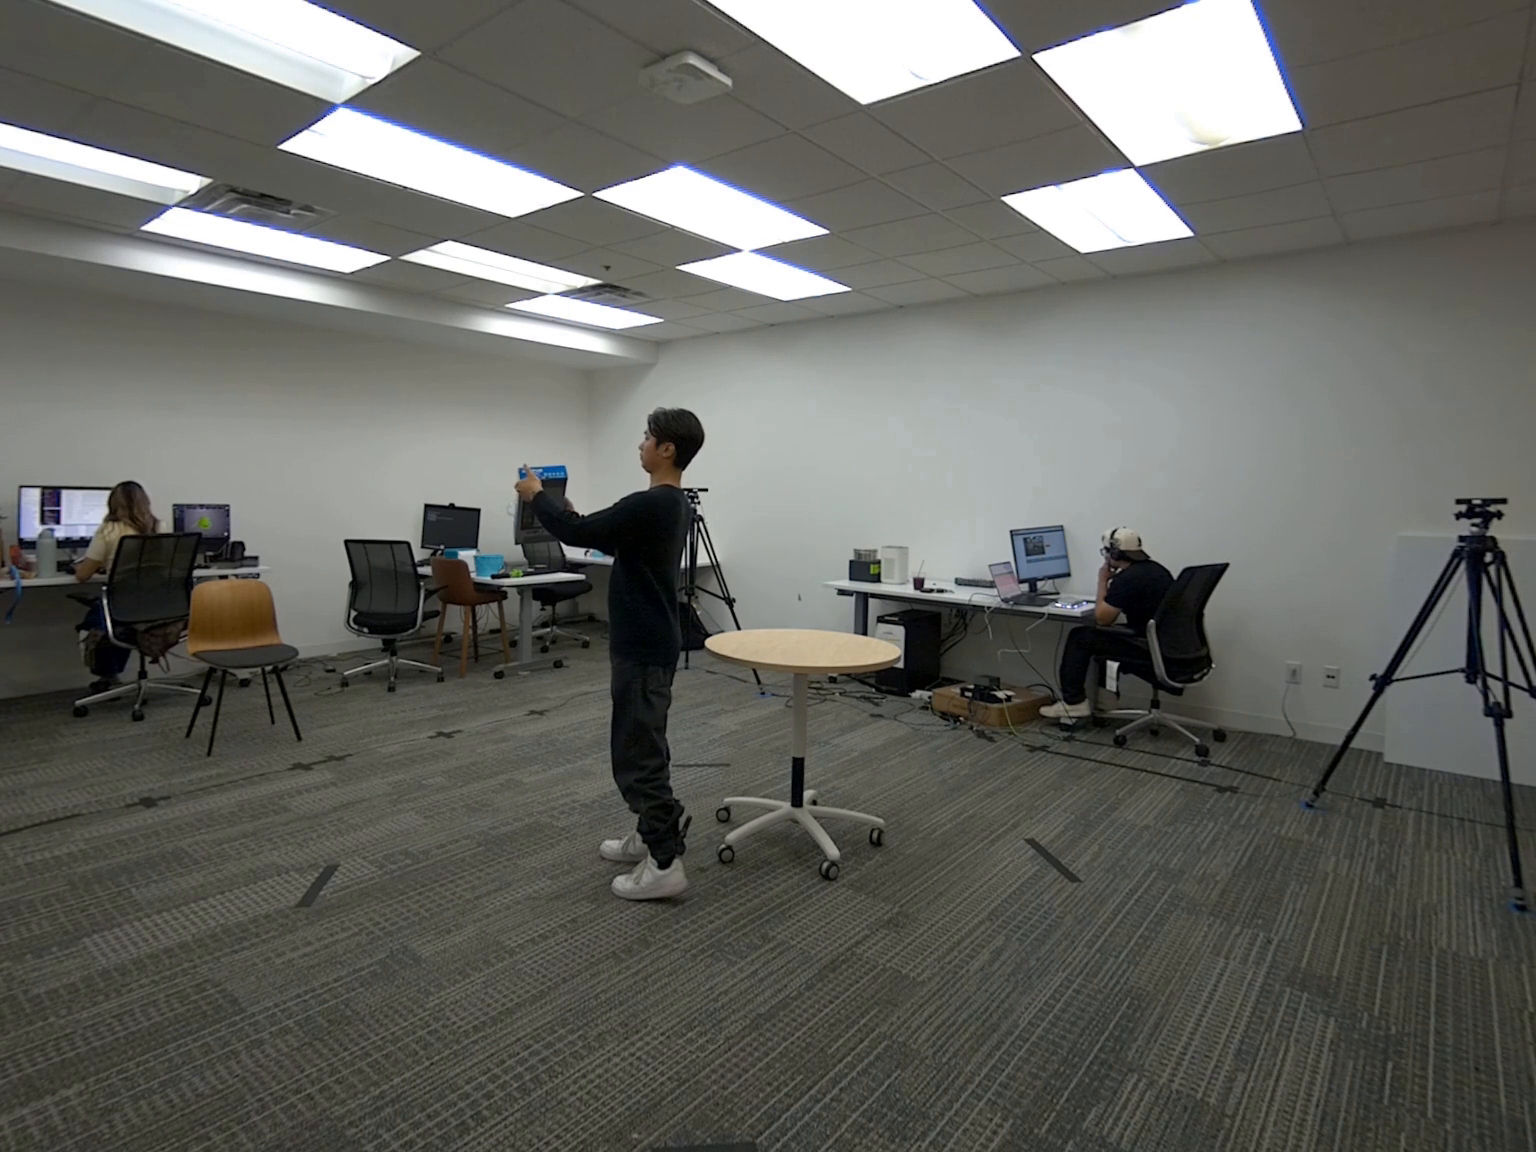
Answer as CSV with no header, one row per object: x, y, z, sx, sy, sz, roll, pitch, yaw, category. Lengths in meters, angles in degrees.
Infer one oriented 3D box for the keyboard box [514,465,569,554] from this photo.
-0.883,-0.268,3.238,0.172,0.061,0.432,-5,-30,-22,keyboard box
